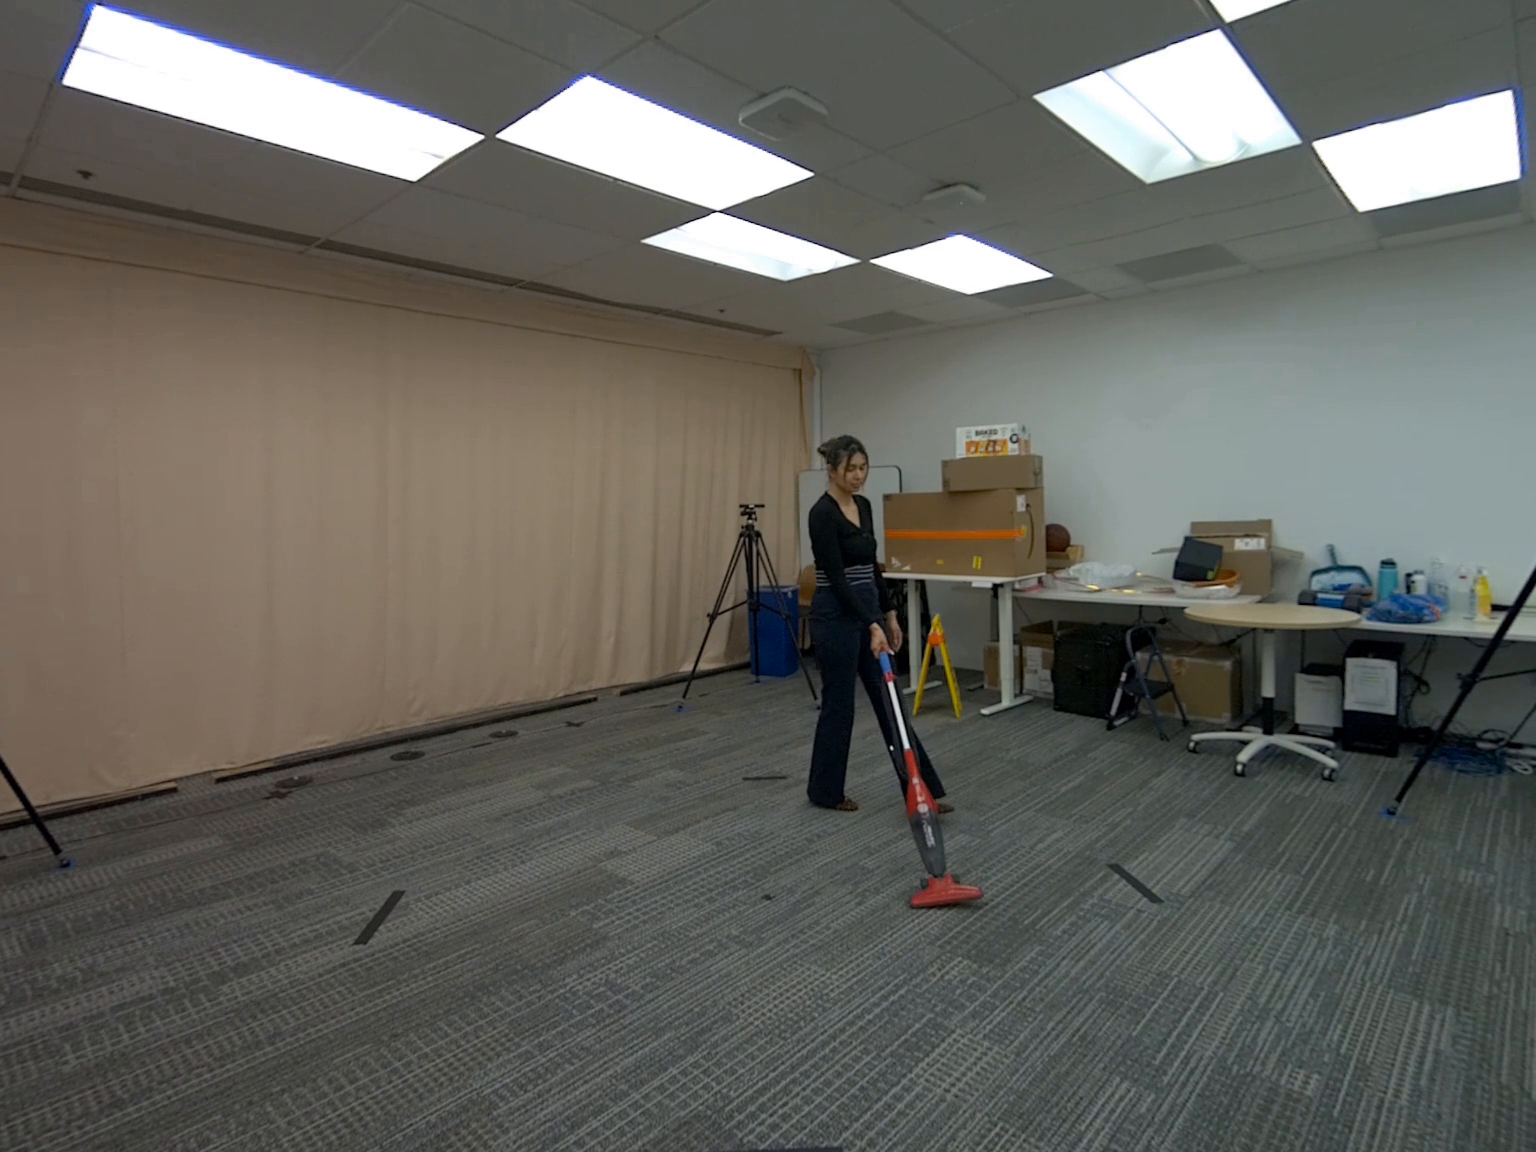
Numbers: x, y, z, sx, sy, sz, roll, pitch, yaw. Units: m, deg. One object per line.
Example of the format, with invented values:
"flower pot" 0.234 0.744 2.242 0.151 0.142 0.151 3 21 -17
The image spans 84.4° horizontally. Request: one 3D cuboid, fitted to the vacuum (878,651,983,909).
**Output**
"vacuum" 0.548 0.696 3.250 0.252 1.072 0.141 -8 -38 -1
